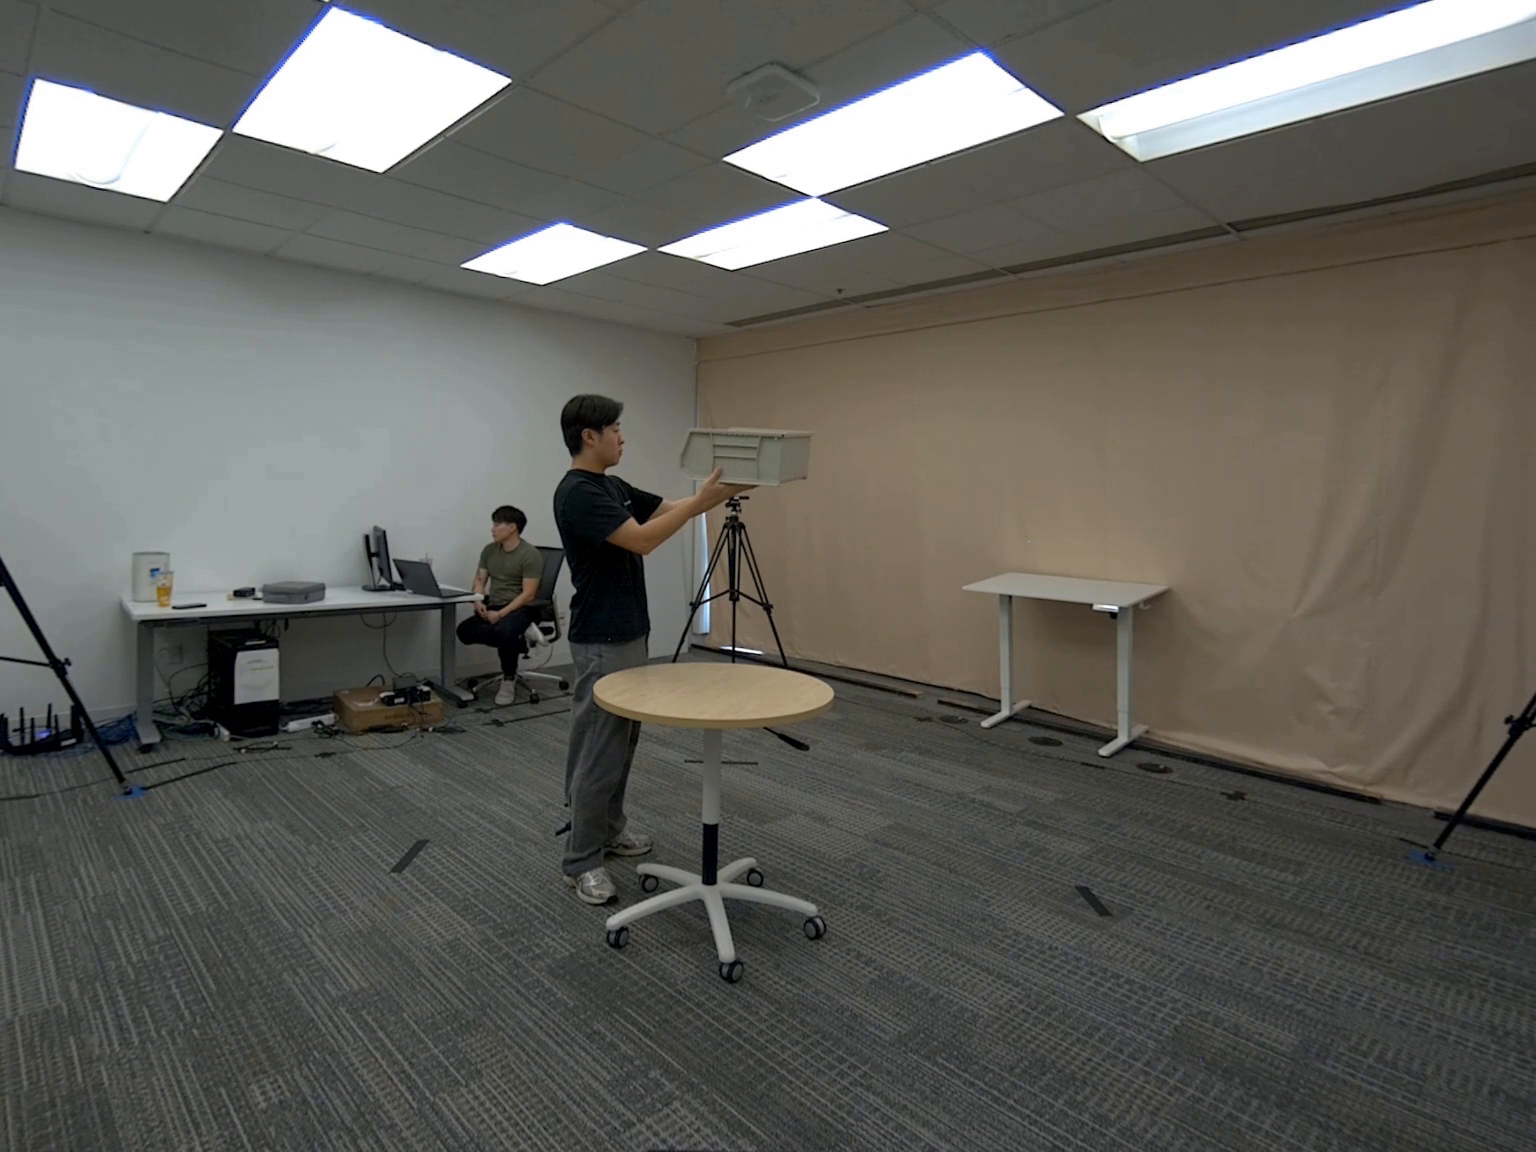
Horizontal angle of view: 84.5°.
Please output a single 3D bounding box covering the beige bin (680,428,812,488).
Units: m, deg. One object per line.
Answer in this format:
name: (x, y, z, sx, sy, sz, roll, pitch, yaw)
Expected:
beige bin: (-0.078, -0.437, 3.056, 0.383, 0.187, 0.419, 6, 11, 16)
